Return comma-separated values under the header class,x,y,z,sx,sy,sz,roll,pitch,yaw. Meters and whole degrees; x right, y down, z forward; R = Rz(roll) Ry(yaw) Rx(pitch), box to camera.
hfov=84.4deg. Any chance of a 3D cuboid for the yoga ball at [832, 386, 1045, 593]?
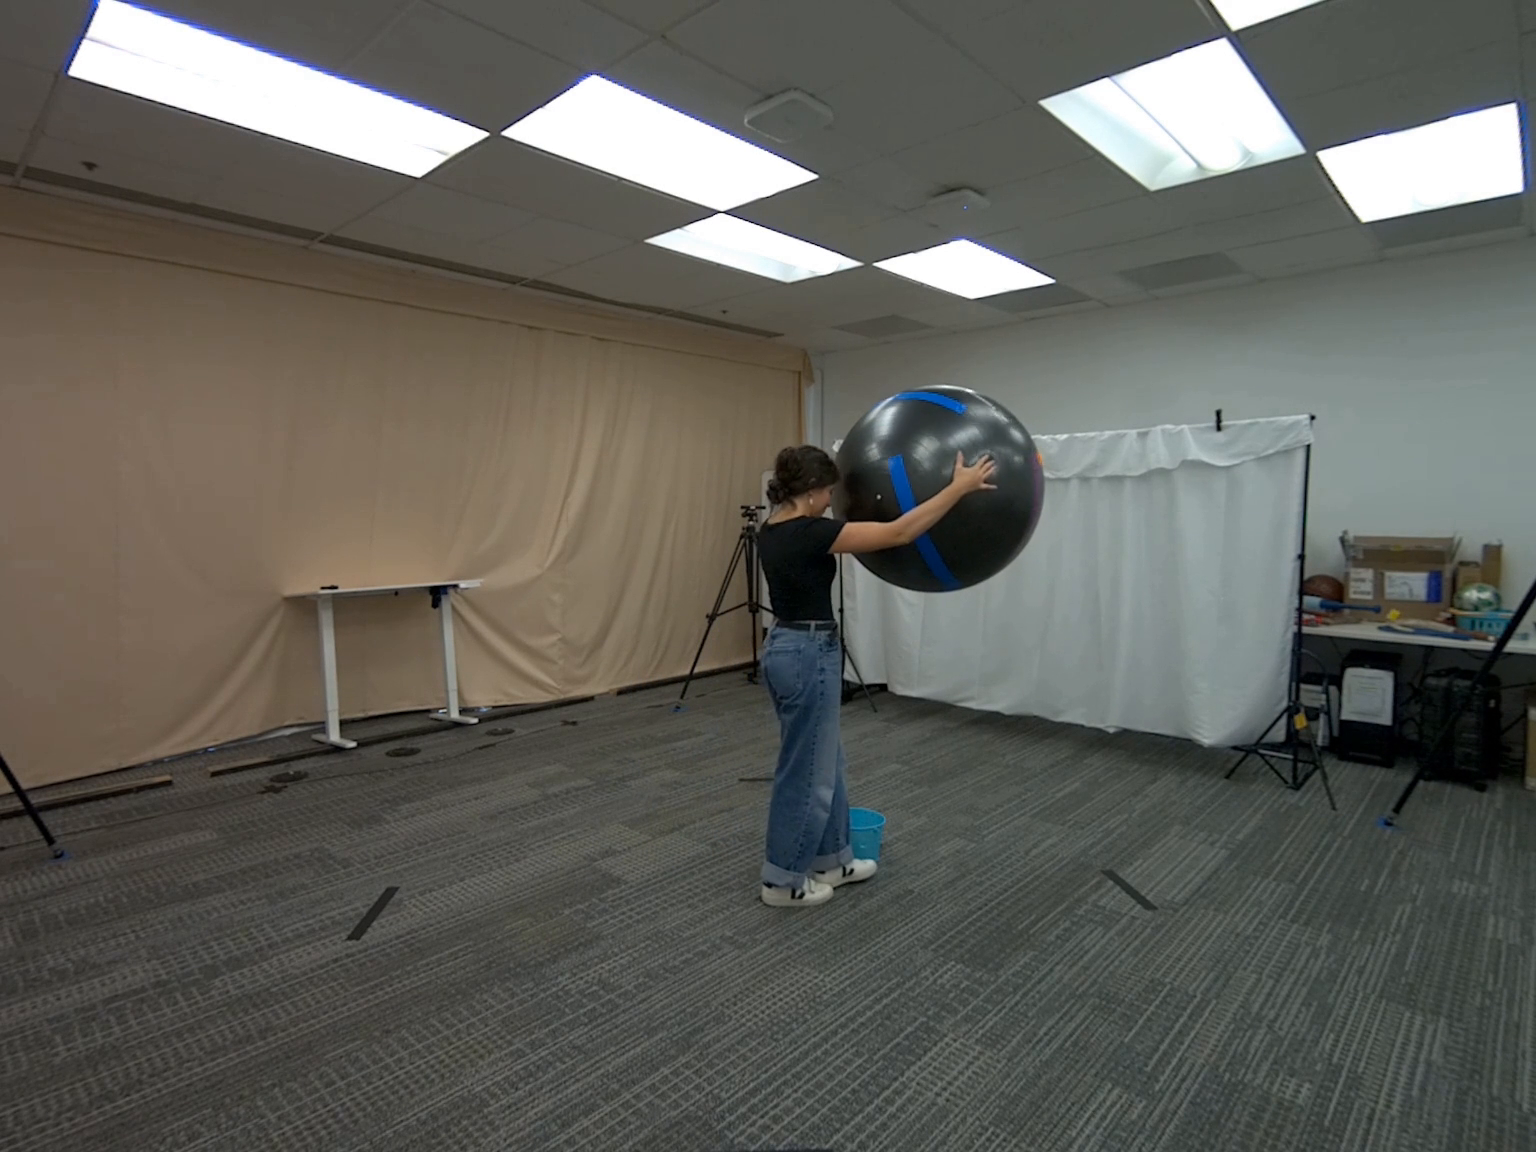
class,x,y,z,sx,sy,sz,roll,pitch,yaw
yoga ball,0.618,-0.308,3.104,0.757,0.756,0.760,0,4,-2
